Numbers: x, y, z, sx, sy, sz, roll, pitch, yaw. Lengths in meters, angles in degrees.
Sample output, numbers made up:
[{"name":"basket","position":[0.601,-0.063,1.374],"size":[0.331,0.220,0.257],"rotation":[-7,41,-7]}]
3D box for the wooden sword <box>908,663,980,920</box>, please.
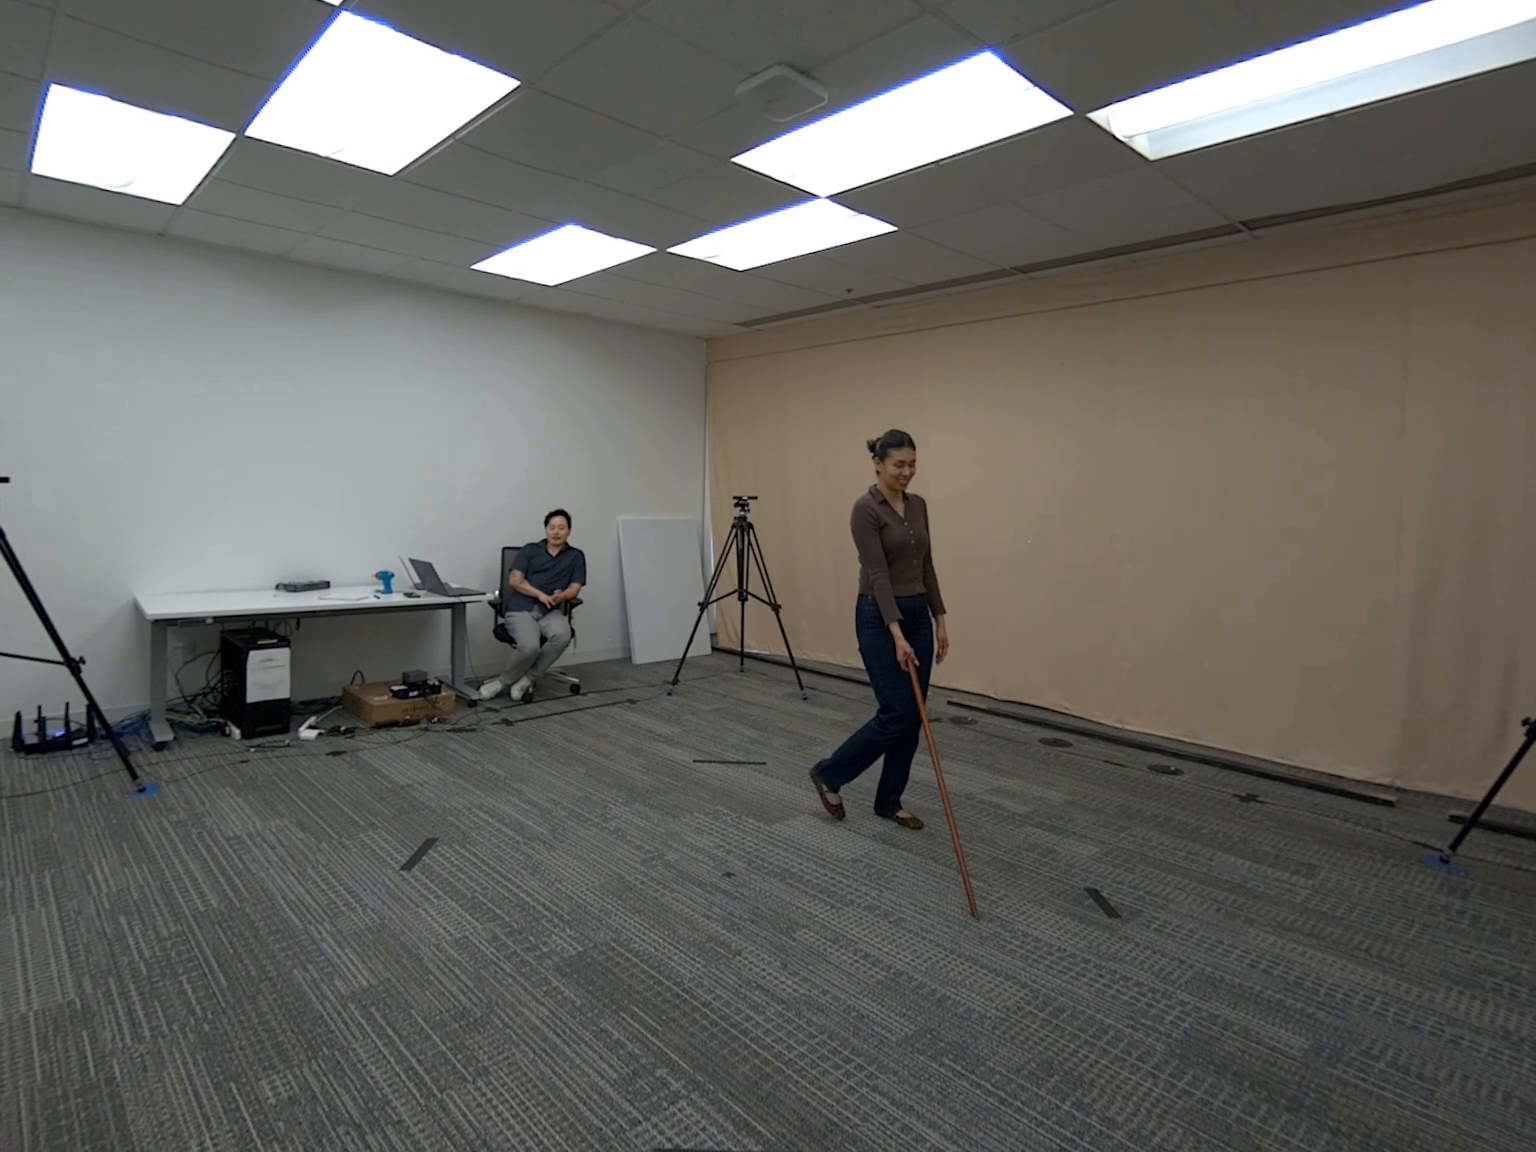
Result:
[{"name":"wooden sword","position":[0.612,0.727,3.114],"size":[0.050,1.050,0.024],"rotation":[12,-40,-32]}]
